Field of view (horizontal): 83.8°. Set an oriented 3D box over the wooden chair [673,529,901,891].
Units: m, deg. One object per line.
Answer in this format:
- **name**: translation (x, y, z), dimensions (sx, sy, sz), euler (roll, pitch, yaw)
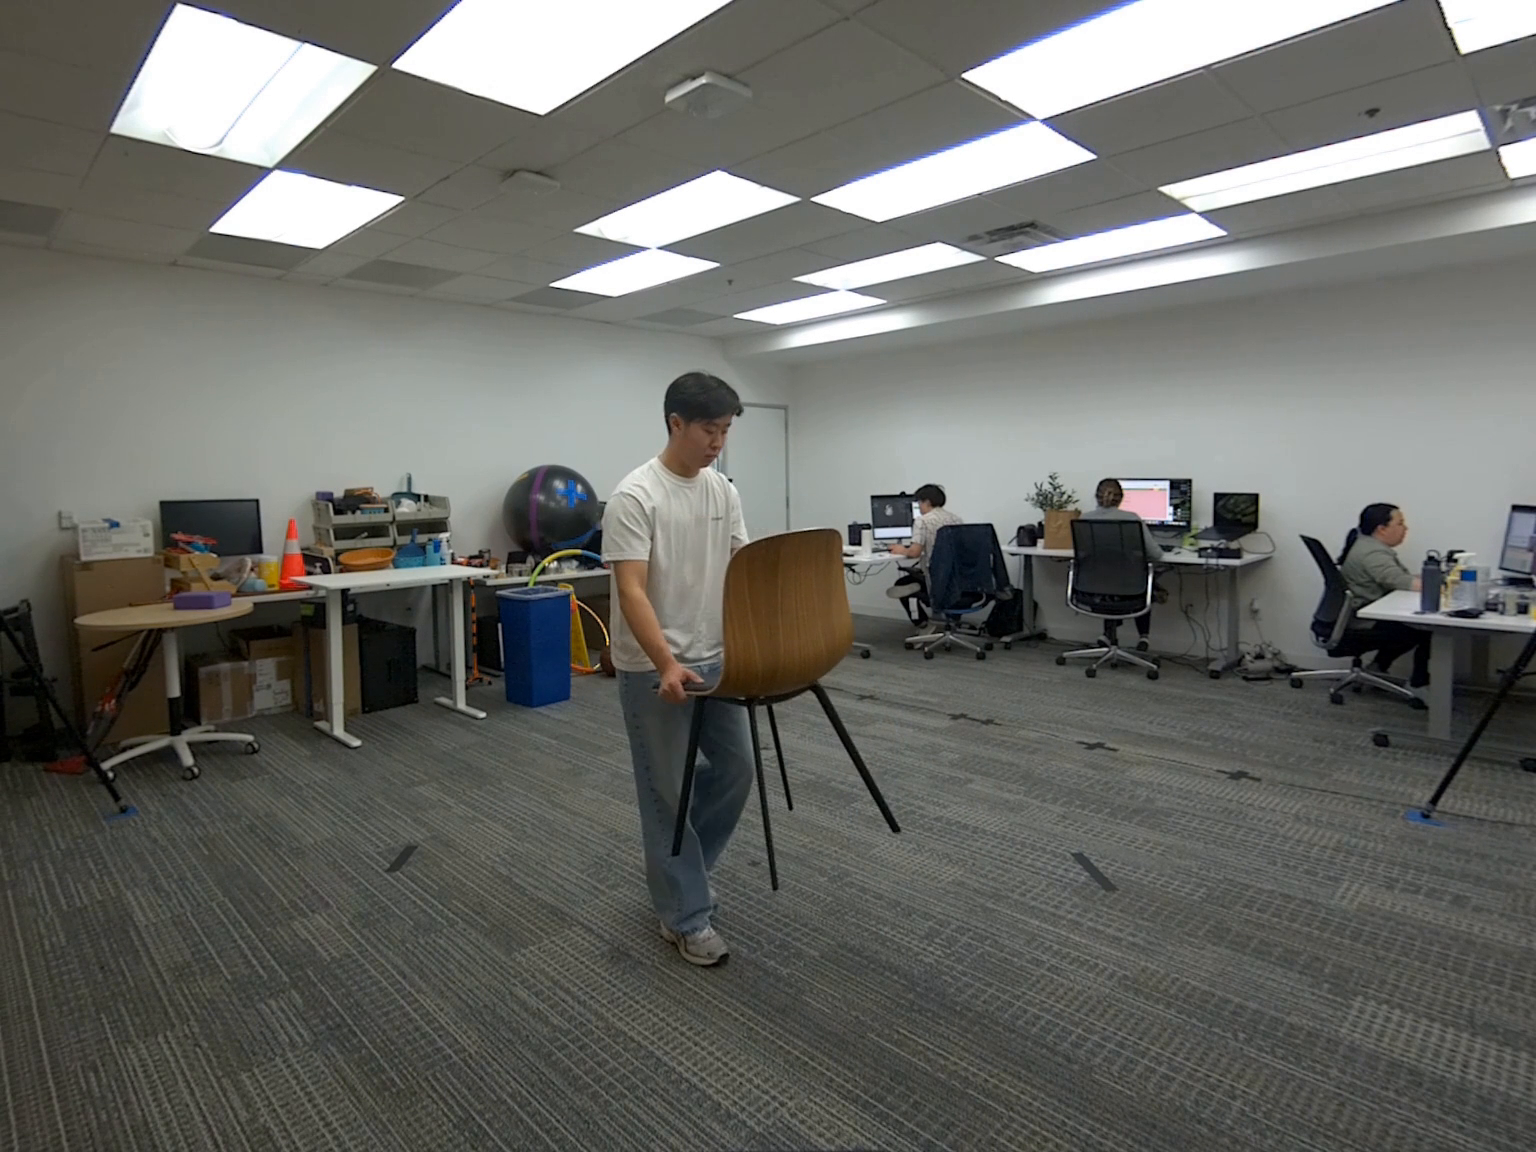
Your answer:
- **wooden chair**: translation (-0.029, 0.320, 2.379), dimensions (0.467, 0.876, 0.536), euler (-9, 2, -38)
